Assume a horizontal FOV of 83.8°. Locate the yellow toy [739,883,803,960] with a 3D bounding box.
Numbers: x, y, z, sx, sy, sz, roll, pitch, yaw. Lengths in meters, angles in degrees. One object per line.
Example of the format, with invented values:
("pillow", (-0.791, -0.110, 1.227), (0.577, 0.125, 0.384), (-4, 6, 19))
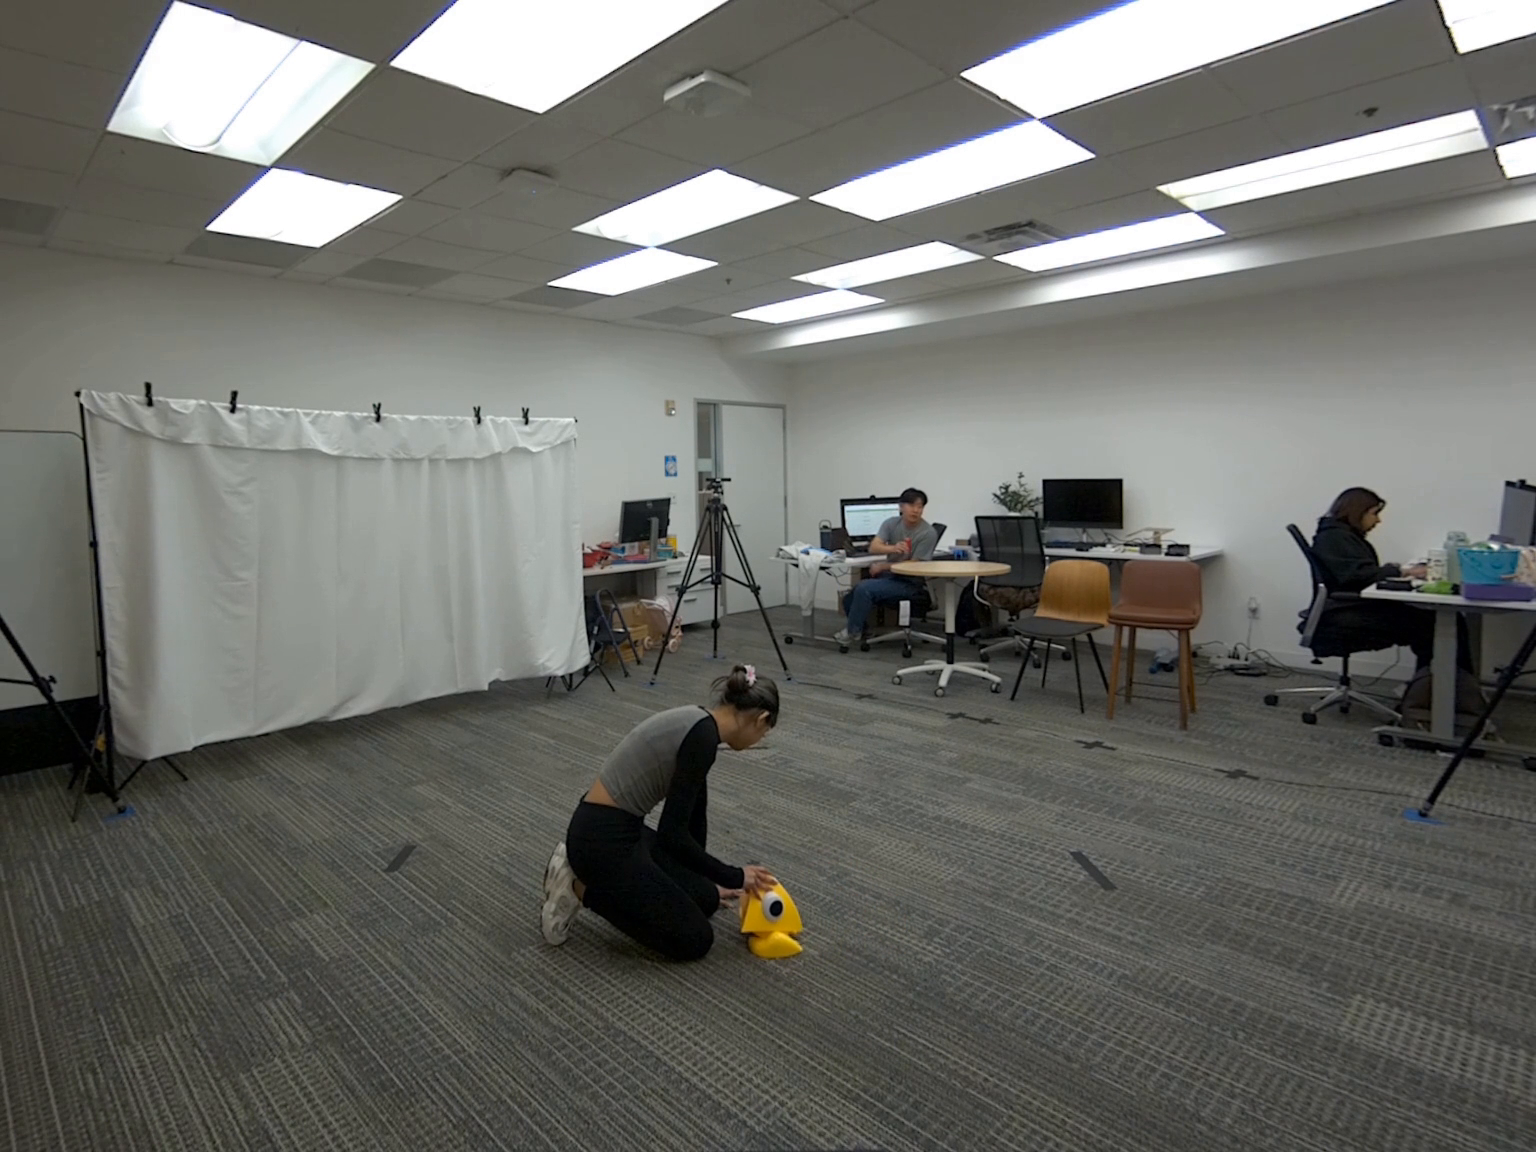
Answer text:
("yellow toy", (0.012, 0.984, 2.584), (0.193, 0.230, 0.206), (-1, 5, -1))
